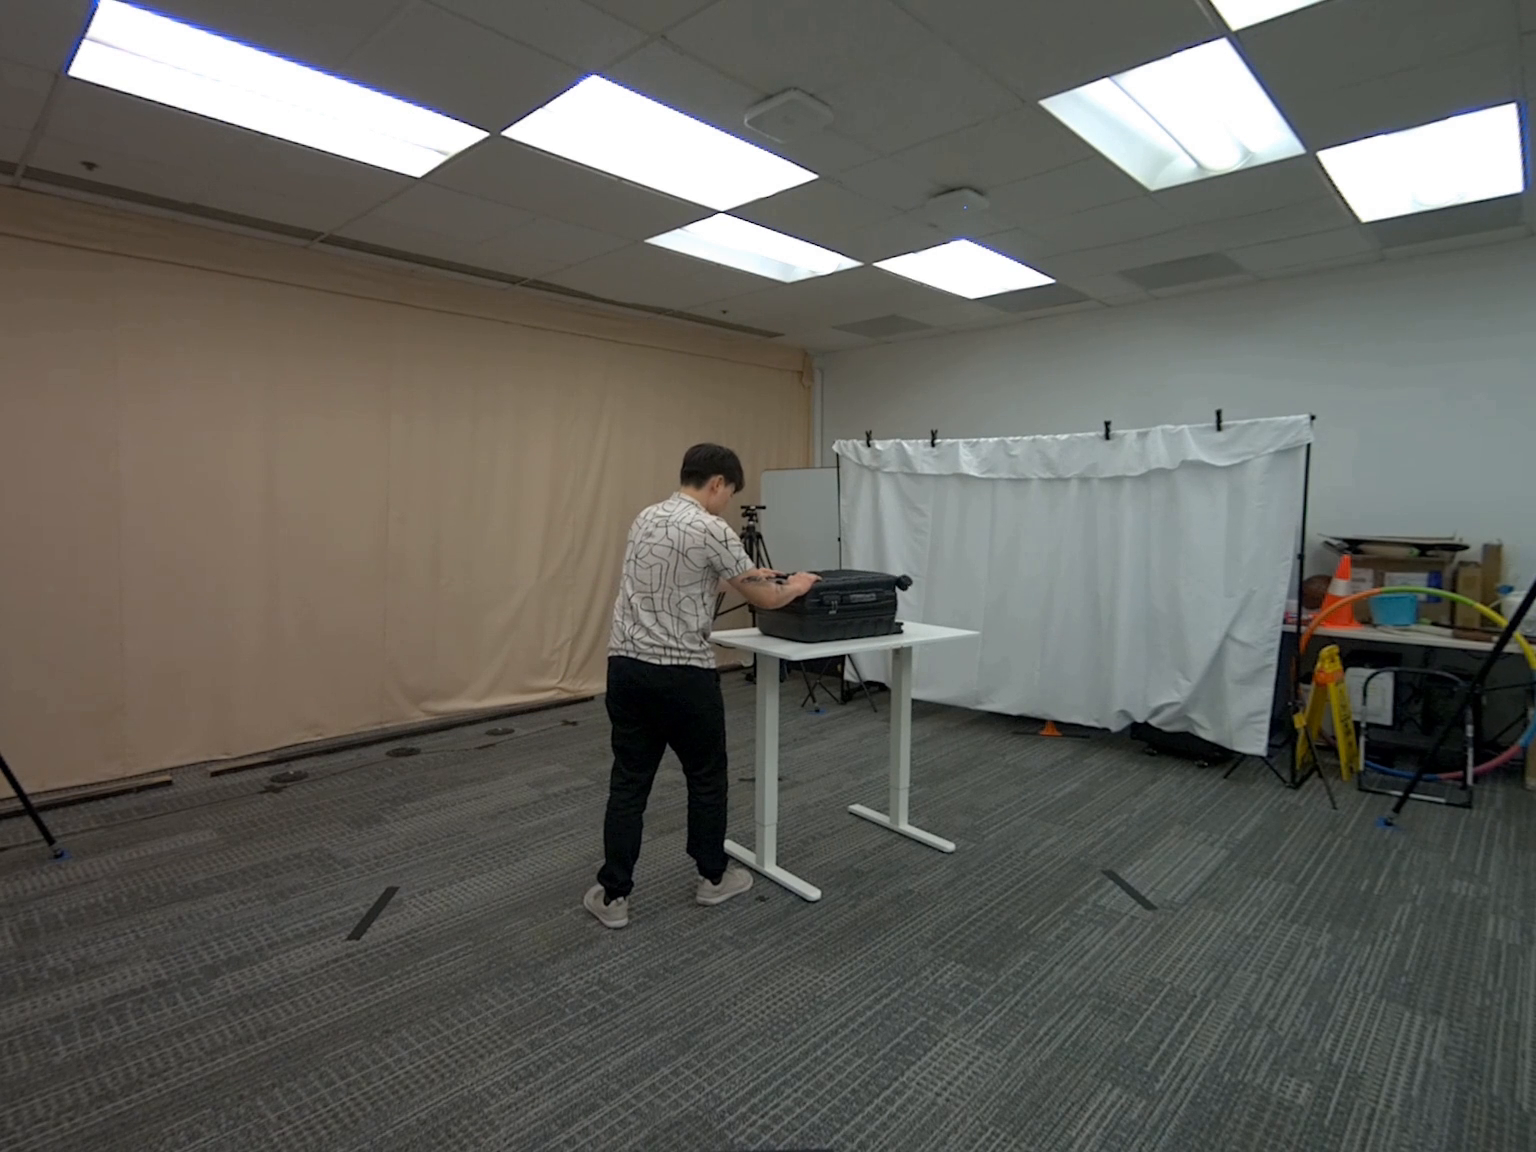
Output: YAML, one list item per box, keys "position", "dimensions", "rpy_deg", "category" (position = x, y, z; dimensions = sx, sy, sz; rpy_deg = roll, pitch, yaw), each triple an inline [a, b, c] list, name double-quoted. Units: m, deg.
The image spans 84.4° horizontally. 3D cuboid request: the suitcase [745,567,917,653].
- position: [0.245, 0.115, 3.317]
  dimensions: [0.533, 0.247, 0.388]
  rpy_deg: [-3, 7, -37]
  category: "suitcase"
